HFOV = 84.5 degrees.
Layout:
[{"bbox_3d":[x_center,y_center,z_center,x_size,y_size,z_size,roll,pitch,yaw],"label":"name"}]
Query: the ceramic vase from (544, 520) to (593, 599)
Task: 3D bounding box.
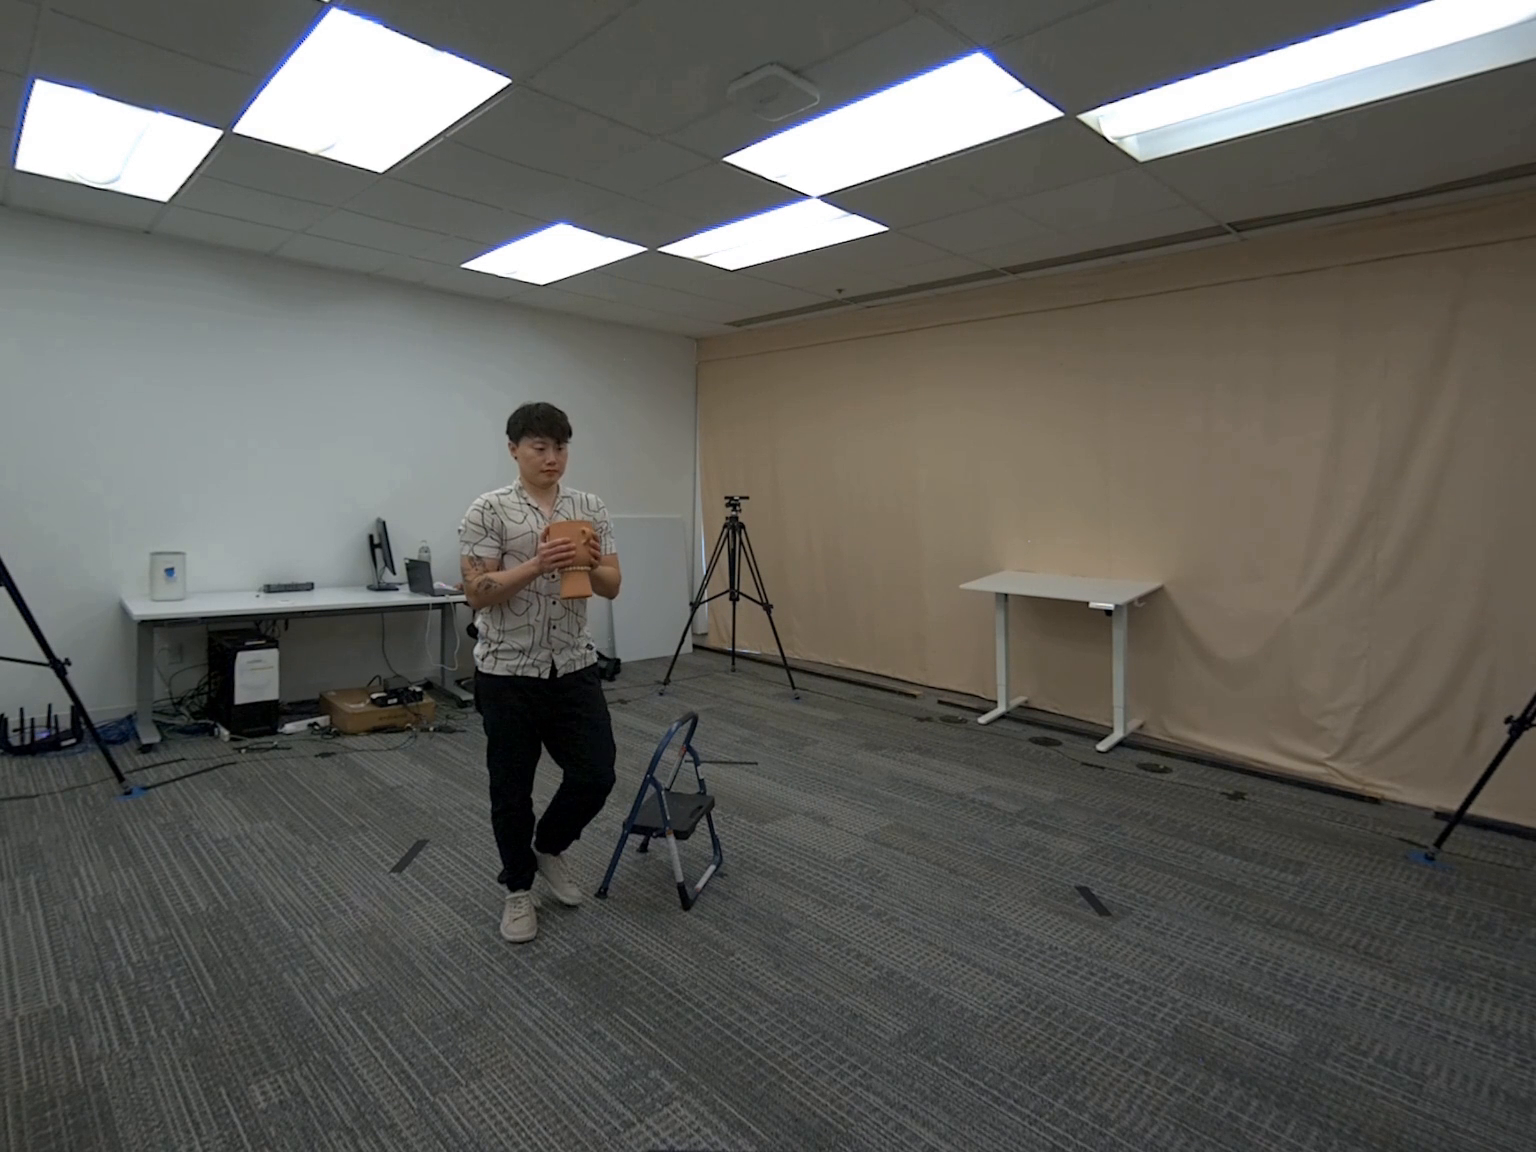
[{"bbox_3d":[-0.583,-0.052,2.505,0.134,0.221,0.159,-5,-4,-8],"label":"ceramic vase"}]
